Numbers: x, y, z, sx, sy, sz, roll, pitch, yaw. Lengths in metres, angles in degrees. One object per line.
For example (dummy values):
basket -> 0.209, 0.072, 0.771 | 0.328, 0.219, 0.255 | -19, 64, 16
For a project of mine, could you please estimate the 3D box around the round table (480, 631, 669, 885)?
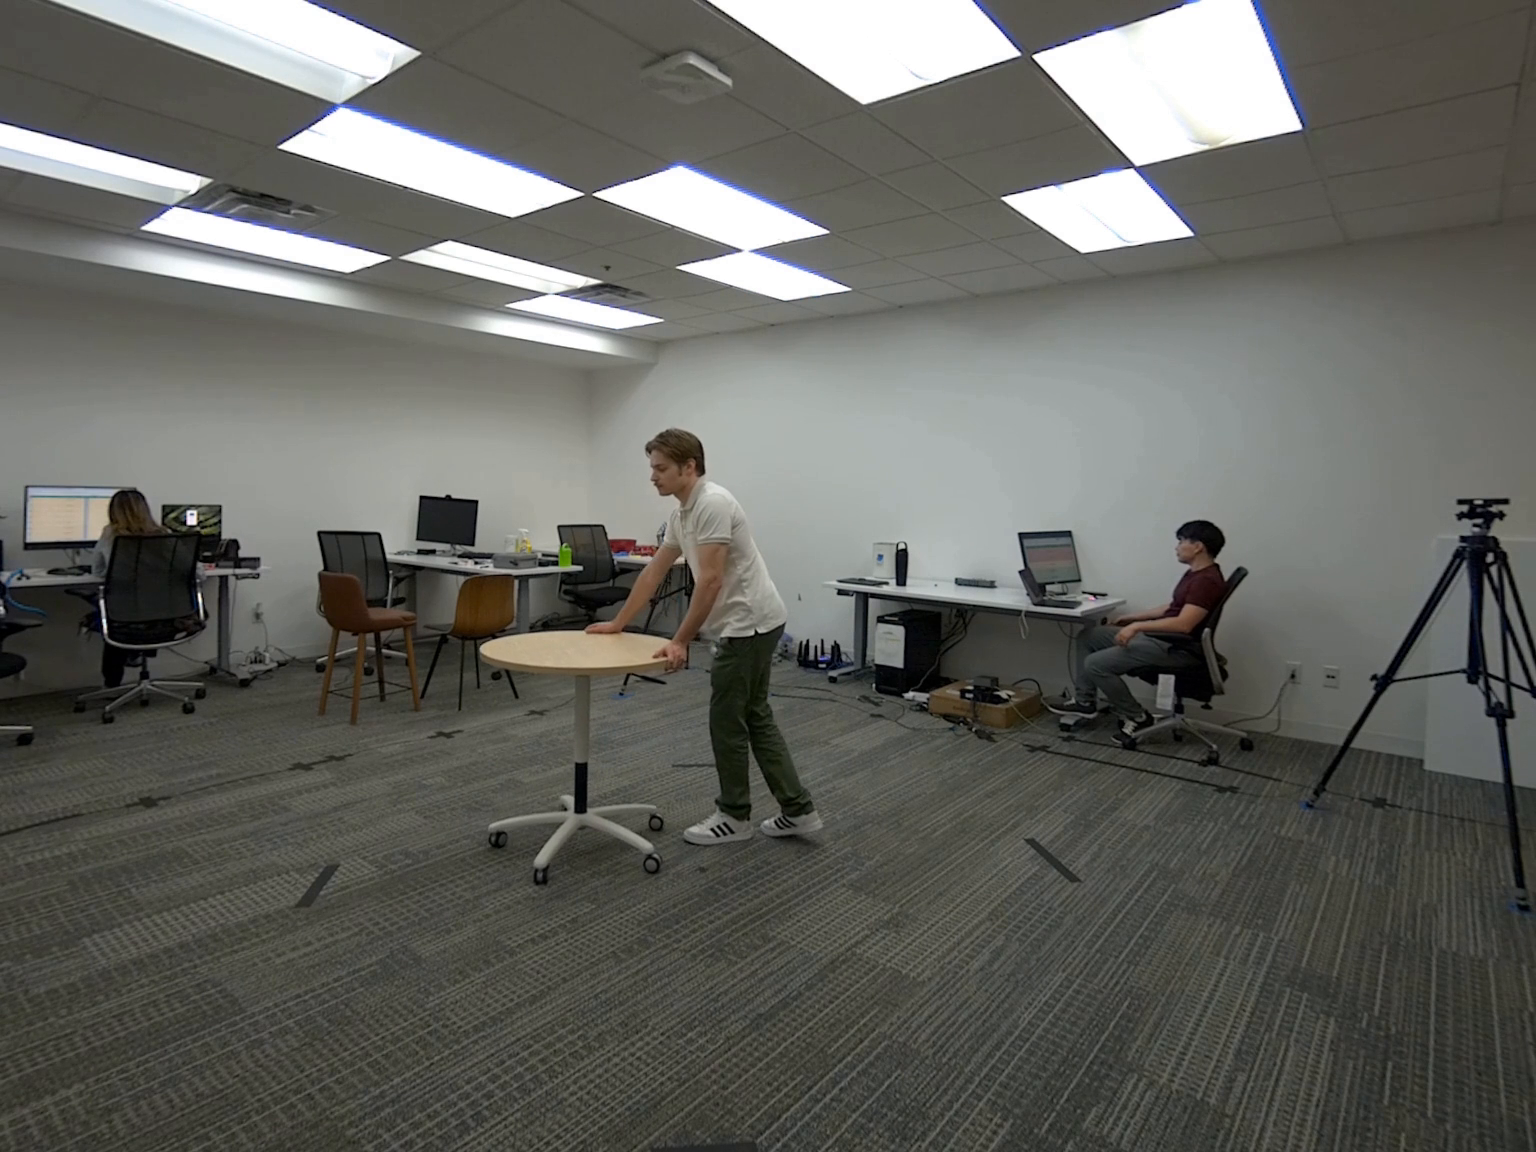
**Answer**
round table -> -0.726, 0.661, 3.260 | 0.763, 0.791, 0.768 | 1, 4, -2
